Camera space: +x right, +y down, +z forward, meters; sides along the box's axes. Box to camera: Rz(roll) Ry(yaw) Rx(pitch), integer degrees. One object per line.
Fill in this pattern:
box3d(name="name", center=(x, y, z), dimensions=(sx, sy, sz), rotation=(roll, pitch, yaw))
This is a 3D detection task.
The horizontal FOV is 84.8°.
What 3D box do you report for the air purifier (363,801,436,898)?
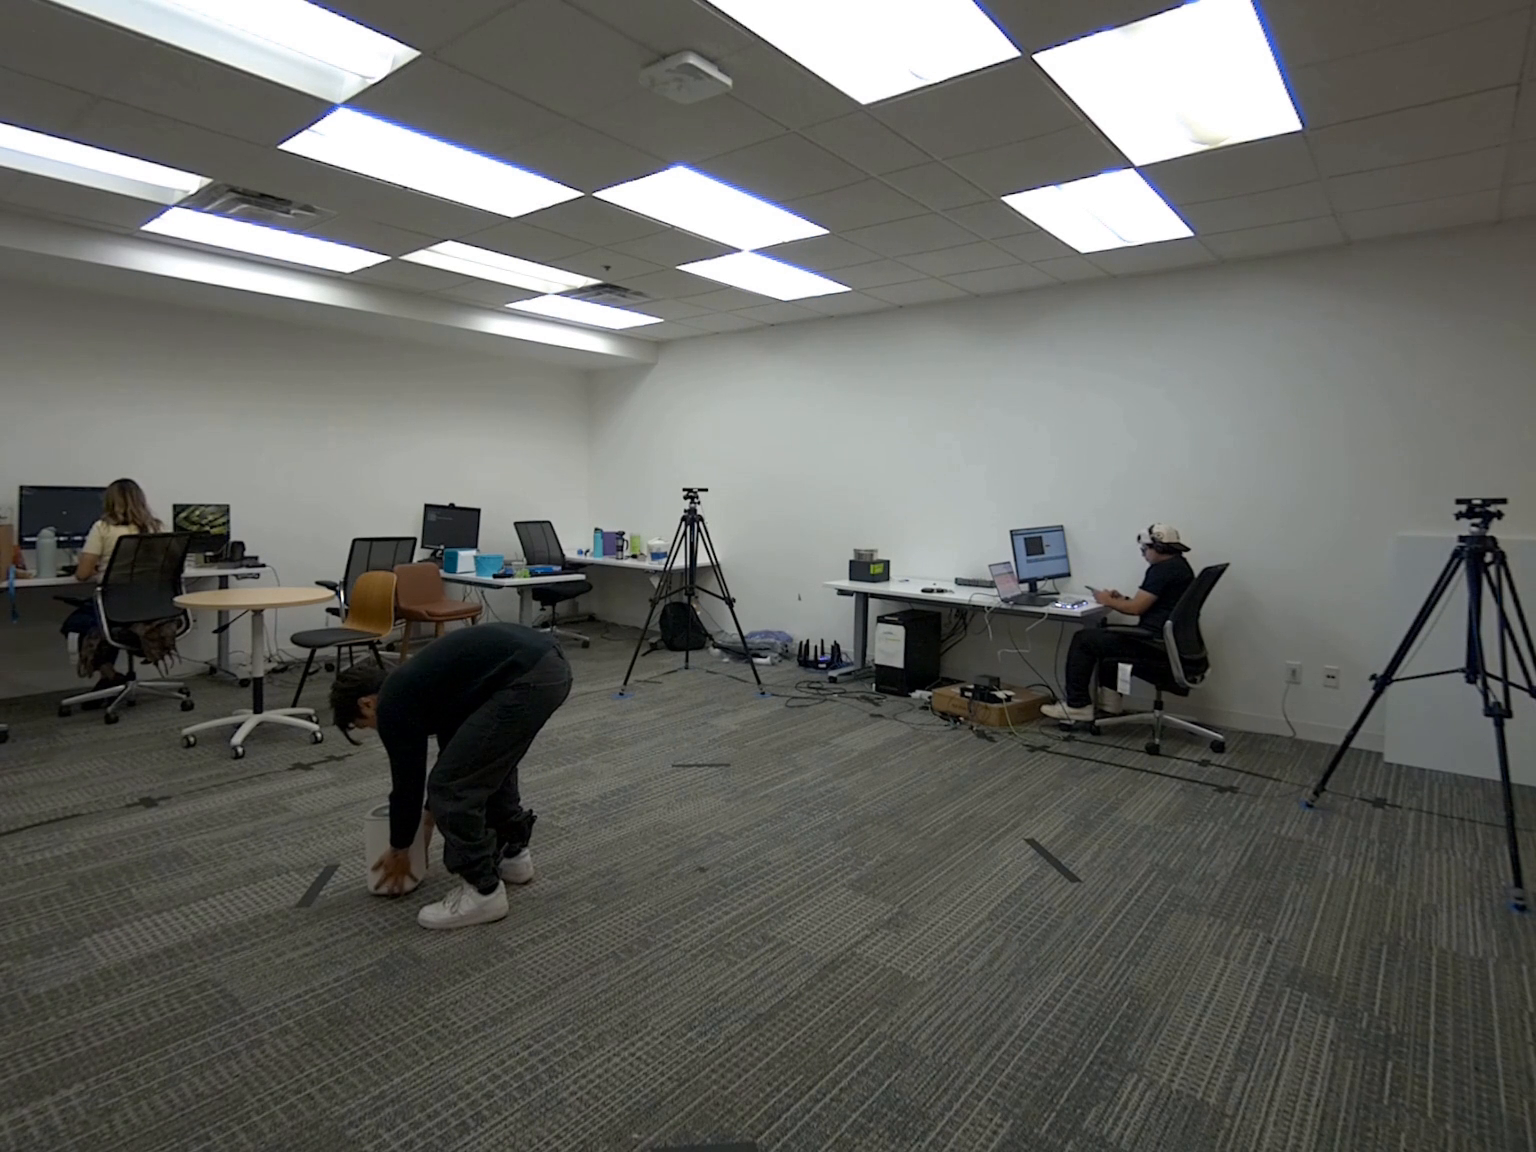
box3d(name="air purifier", center=(-1.294, 0.931, 2.929), dimensions=(0.169, 0.264, 0.174), rotation=(-3, 4, -9))
